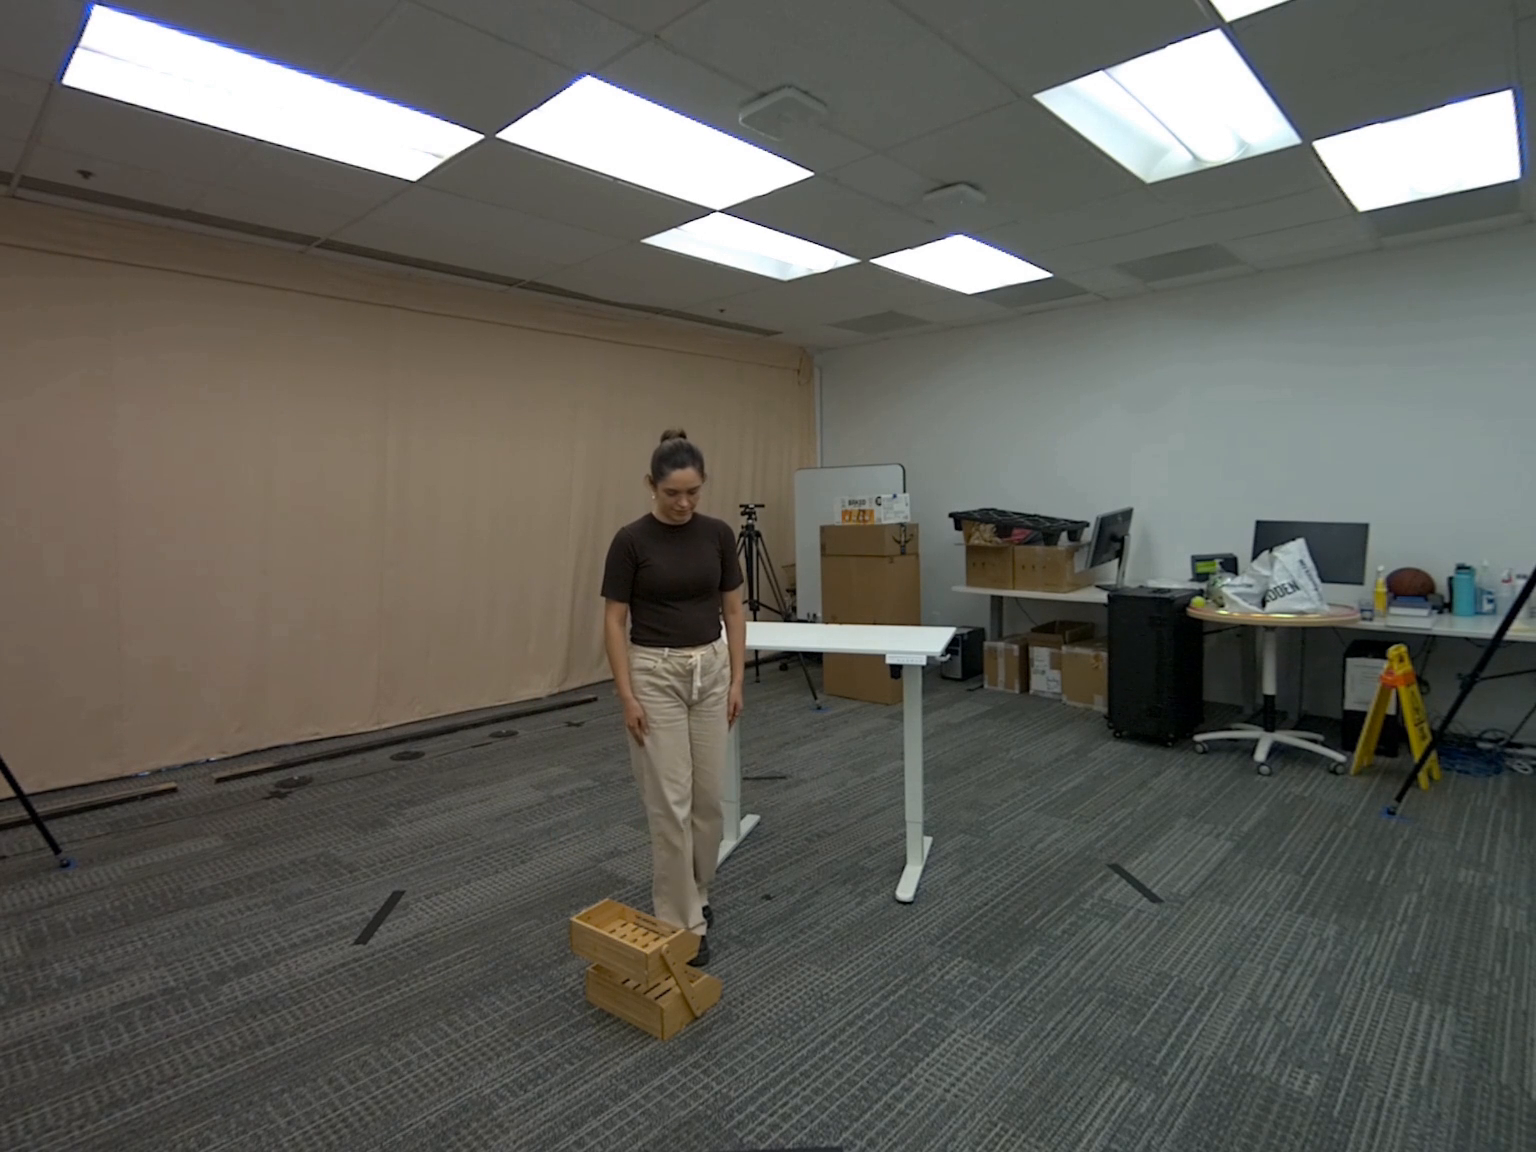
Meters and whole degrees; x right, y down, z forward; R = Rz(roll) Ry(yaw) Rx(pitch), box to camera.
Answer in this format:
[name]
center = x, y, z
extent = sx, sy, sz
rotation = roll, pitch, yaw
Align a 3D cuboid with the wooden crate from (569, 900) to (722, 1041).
[wooden crate]
center = -0.342, 1.066, 2.353
extent = 0.335, 0.272, 0.293
rotation = 2, 5, 37
